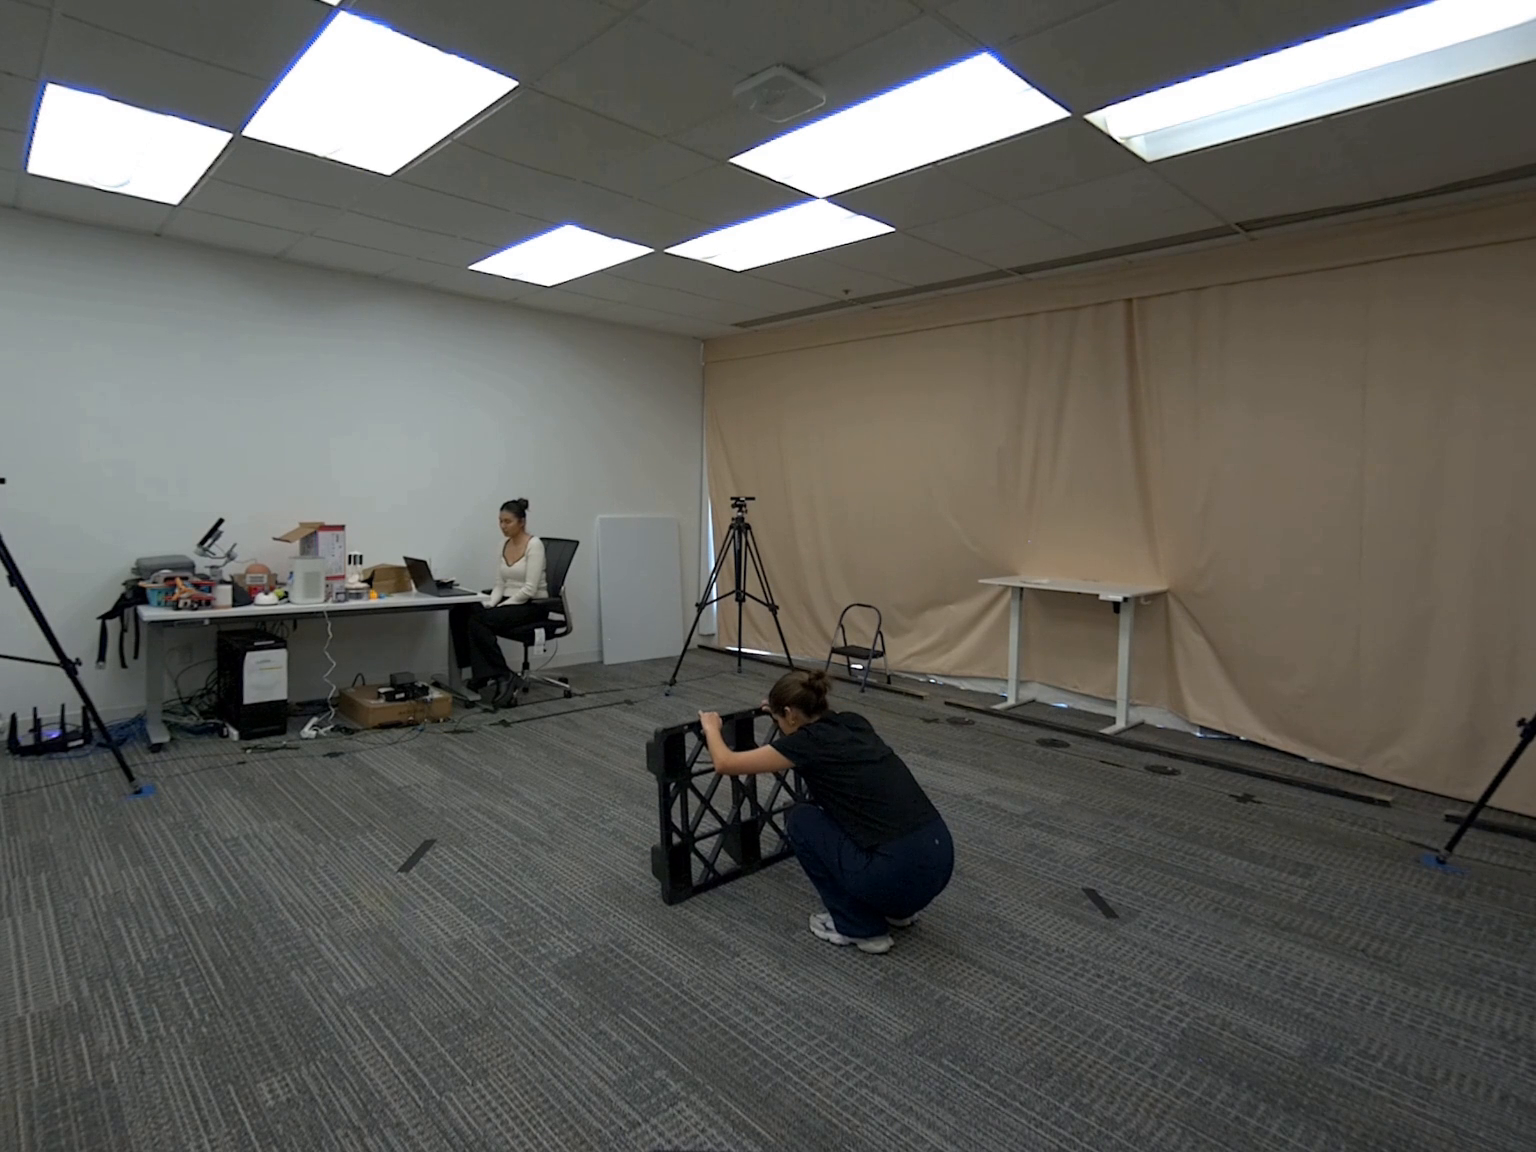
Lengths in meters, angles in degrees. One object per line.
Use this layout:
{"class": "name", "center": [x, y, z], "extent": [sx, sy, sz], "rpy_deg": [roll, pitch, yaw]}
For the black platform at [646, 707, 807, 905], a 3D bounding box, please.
{"class": "black platform", "center": [-0.122, 0.801, 3.167], "extent": [0.787, 0.606, 0.146], "rpy_deg": [-3, -1, -45]}
